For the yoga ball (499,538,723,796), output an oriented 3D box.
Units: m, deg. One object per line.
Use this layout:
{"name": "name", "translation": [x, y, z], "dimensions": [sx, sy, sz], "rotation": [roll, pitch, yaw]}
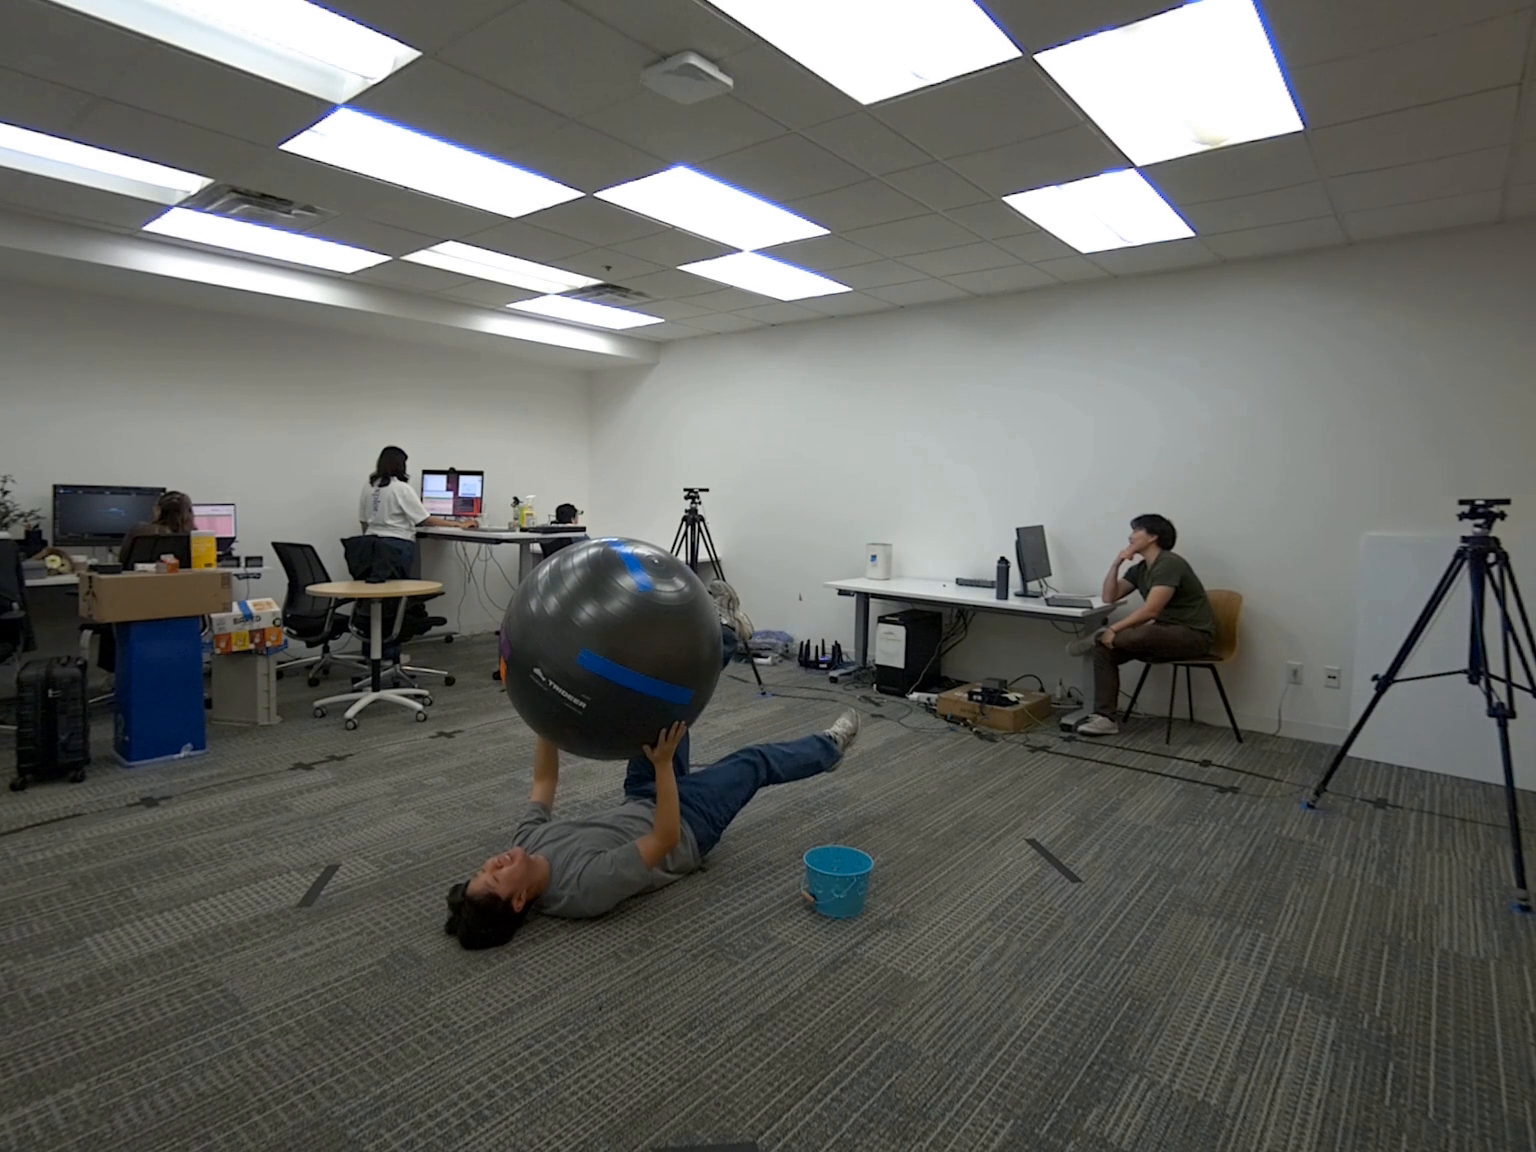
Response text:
{"name": "yoga ball", "translation": [-0.547, 0.252, 2.915], "dimensions": [0.757, 0.756, 0.762], "rotation": [1, 4, -2]}
